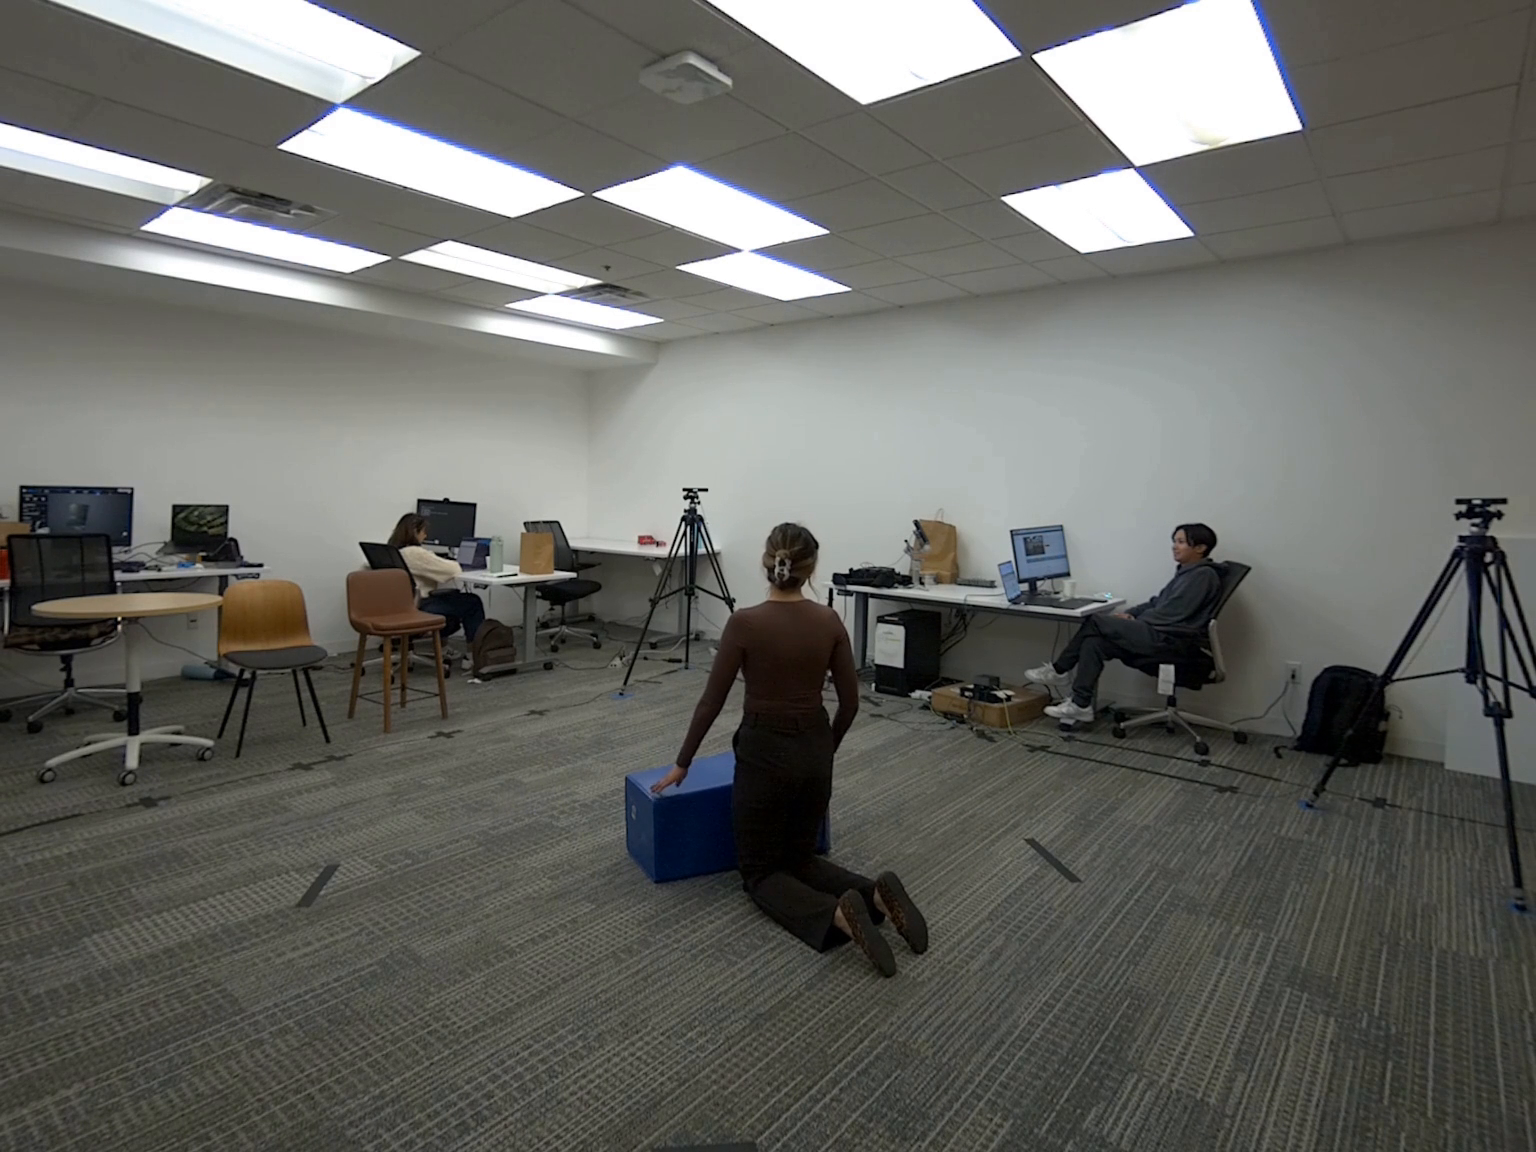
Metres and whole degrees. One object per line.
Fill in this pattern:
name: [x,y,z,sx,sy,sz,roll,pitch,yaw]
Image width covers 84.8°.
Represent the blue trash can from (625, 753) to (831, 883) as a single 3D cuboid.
blue trash can: [-0.173,0.884,3.259,0.697,0.376,0.385,-3,6,-26]
